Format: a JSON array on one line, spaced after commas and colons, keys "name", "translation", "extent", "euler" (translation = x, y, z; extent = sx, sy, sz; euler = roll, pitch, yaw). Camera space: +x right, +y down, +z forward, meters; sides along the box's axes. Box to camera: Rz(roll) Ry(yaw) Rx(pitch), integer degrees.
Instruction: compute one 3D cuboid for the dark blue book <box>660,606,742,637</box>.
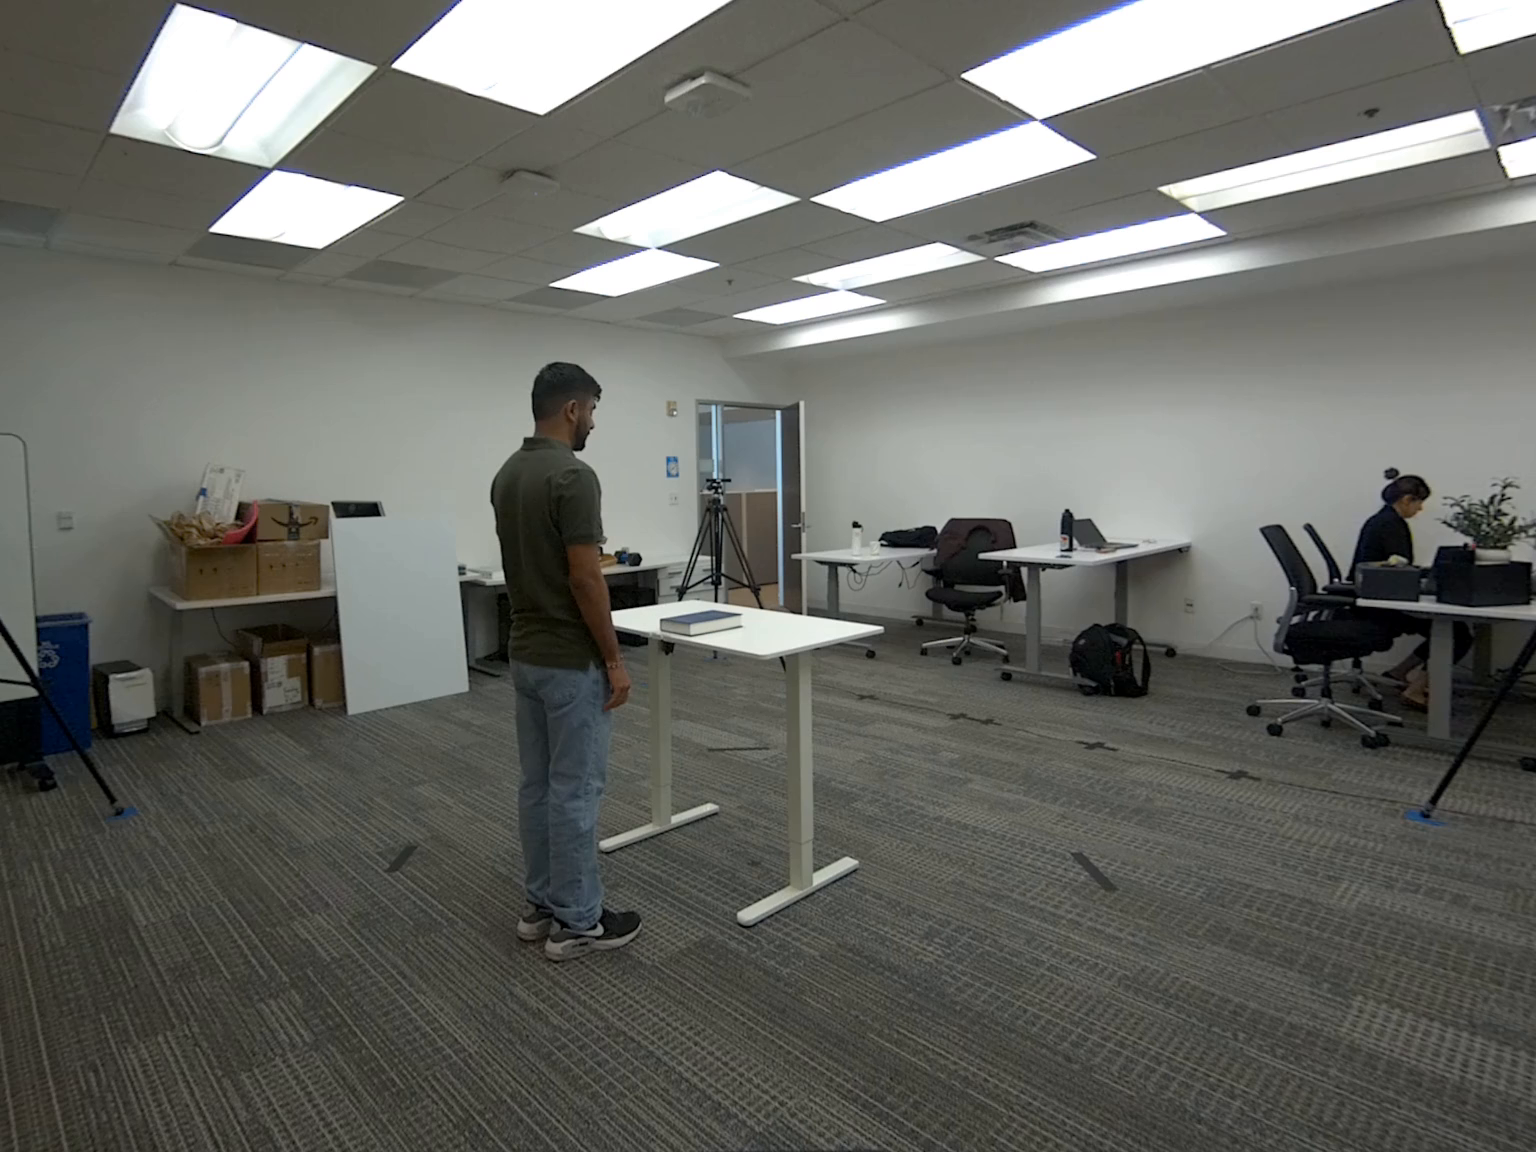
[{"name": "dark blue book", "translation": [-0.235, 0.163, 2.964], "extent": [0.239, 0.045, 0.168], "euler": [-7, 8, -40]}]
